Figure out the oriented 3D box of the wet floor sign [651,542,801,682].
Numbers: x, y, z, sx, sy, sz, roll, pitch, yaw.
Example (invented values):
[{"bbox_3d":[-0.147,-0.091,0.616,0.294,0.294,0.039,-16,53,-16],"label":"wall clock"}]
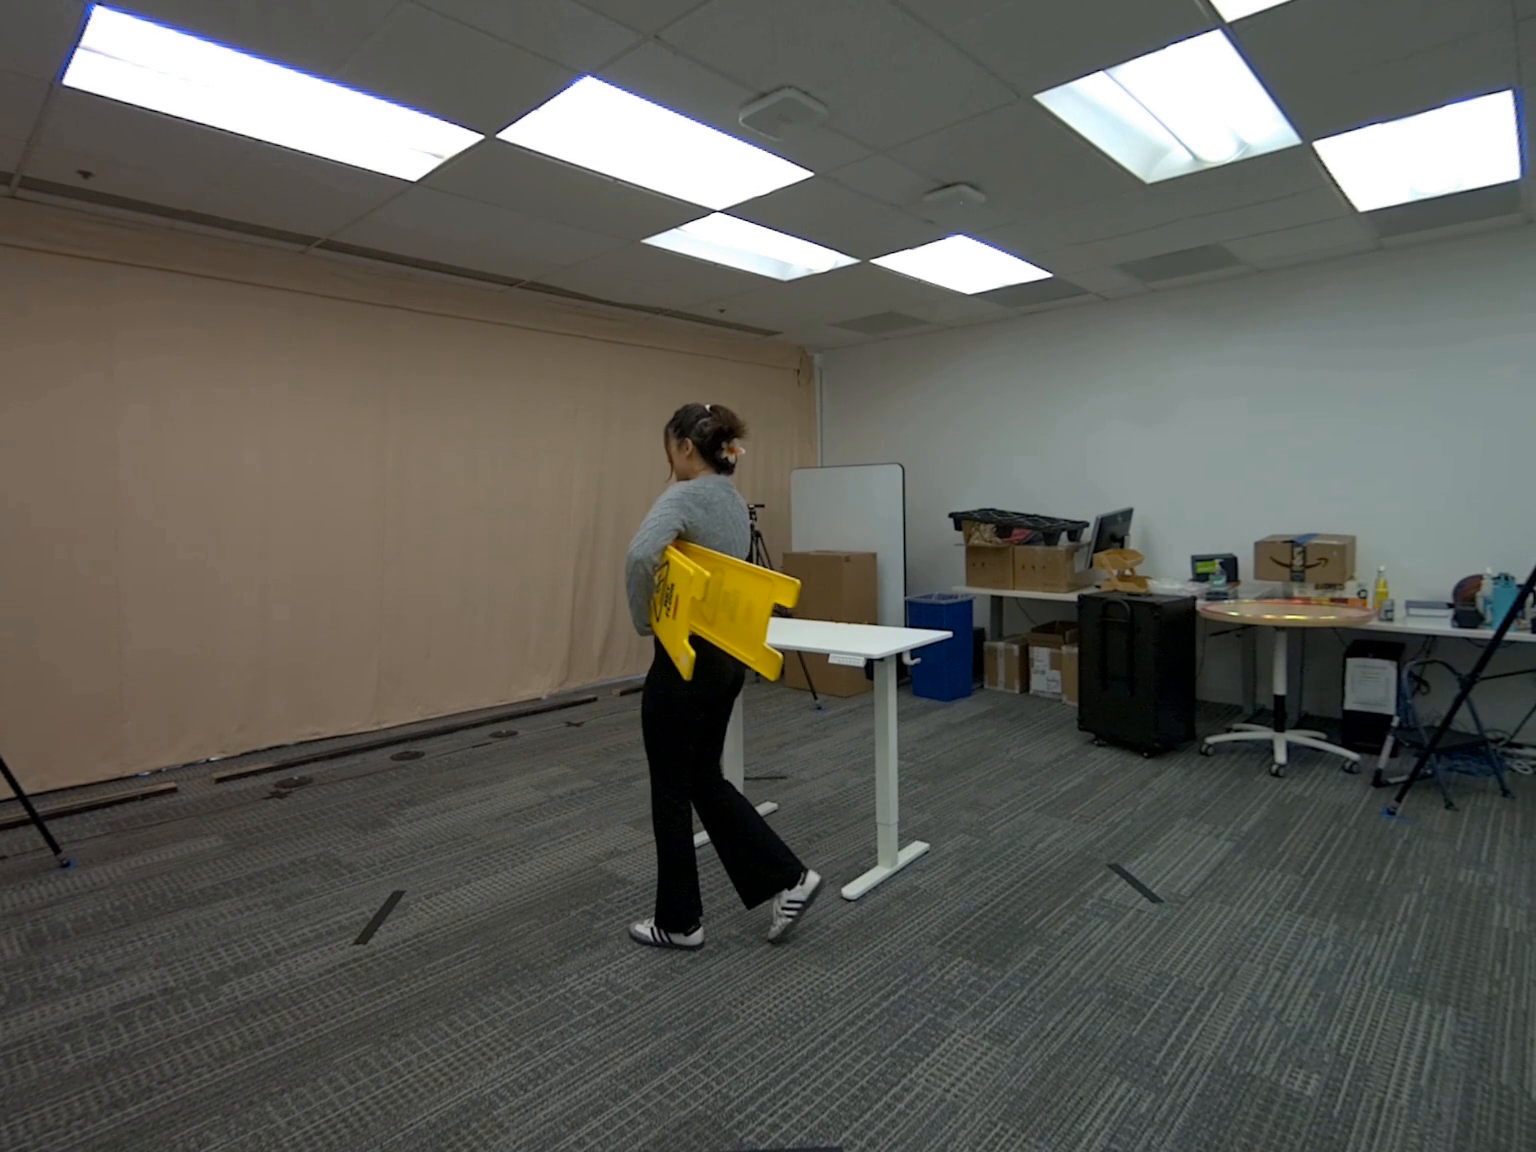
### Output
[{"bbox_3d":[-0.226,0.044,2.390,0.281,0.281,0.669,3,14,-33],"label":"wet floor sign"}]
